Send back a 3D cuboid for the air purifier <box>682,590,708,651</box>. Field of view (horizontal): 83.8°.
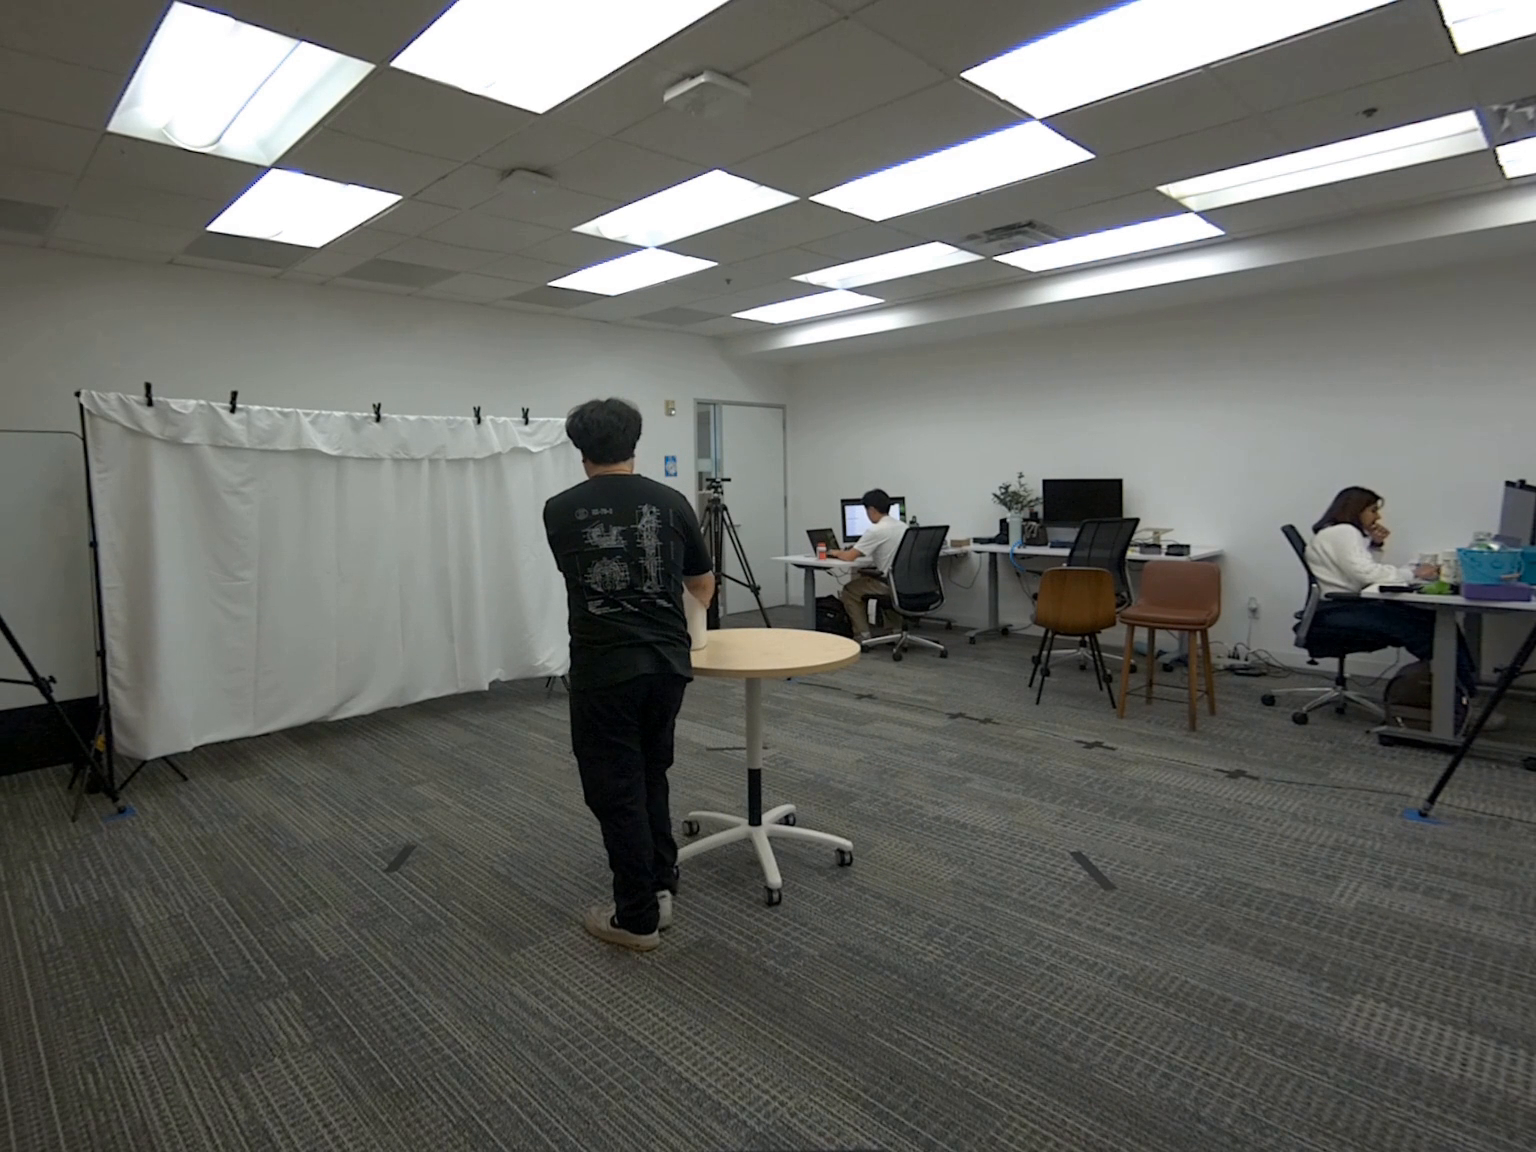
[{"bbox_3d":[-0.304,0.127,3.084,0.172,0.265,0.171,-3,3,5],"label":"air purifier"}]
